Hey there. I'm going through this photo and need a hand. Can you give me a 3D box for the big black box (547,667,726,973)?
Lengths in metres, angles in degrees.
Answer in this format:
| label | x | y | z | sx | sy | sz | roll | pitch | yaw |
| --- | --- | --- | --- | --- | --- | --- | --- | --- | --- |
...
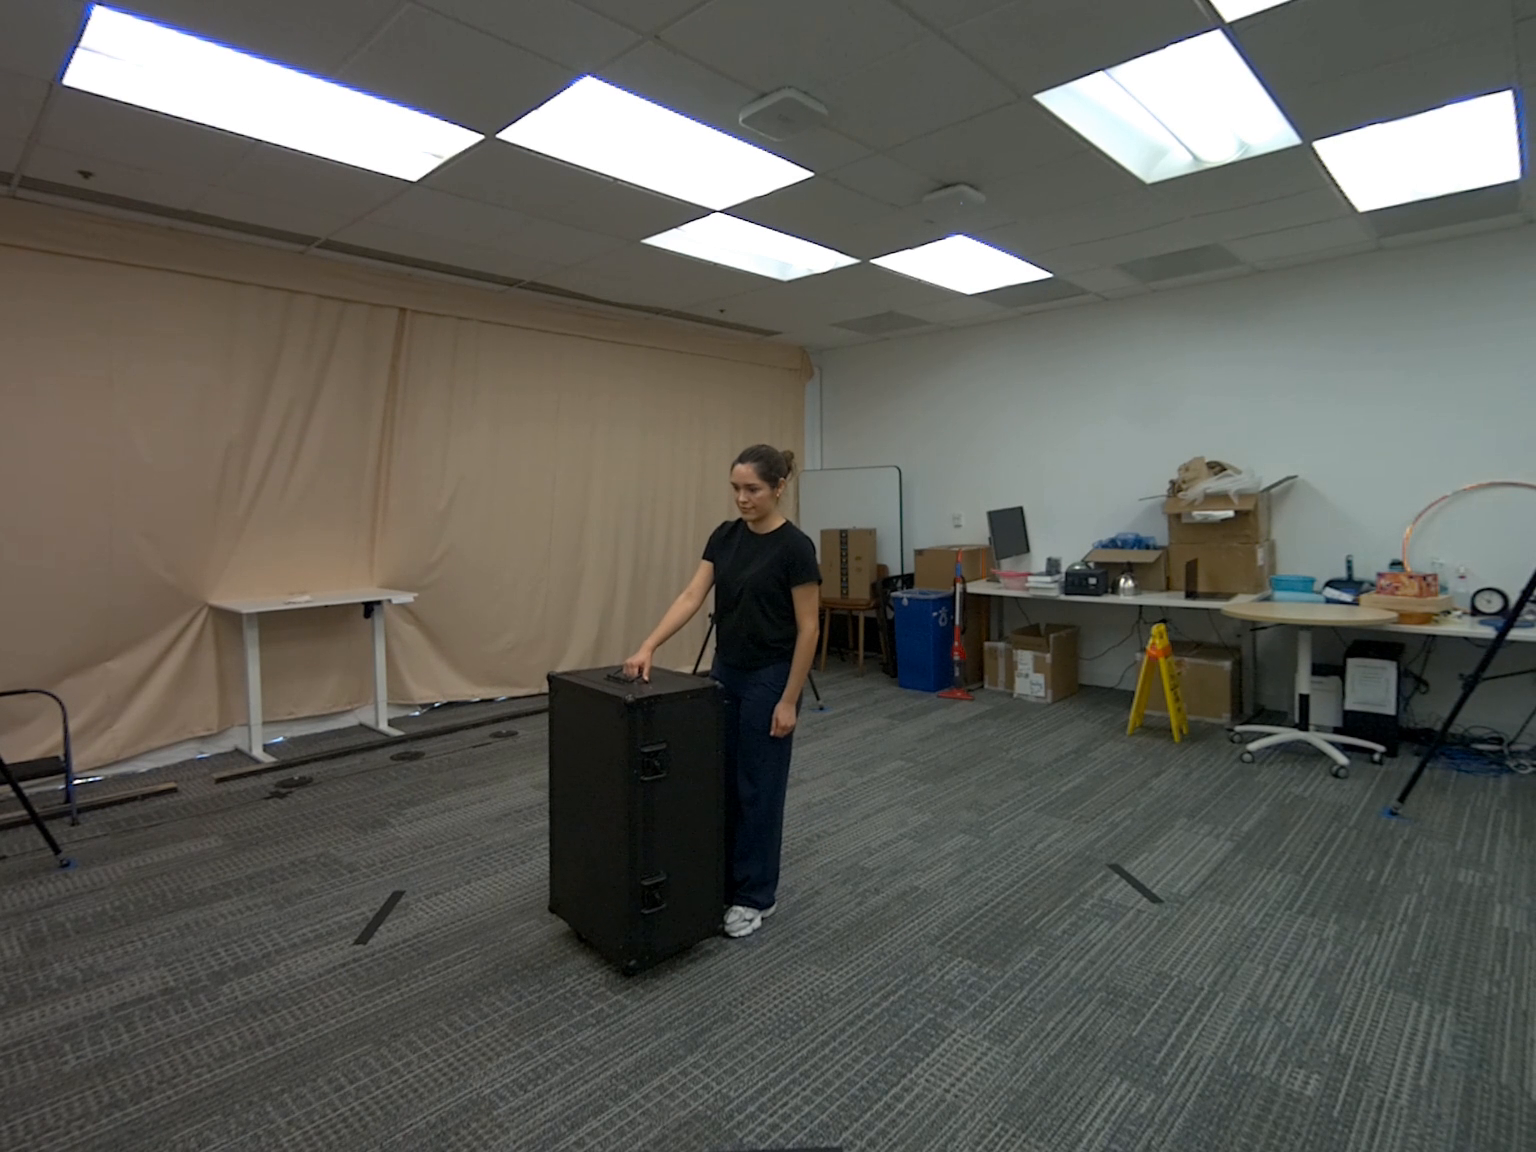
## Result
| label | x | y | z | sx | sy | sz | roll | pitch | yaw |
| --- | --- | --- | --- | --- | --- | --- | --- | --- | --- |
| big black box | -0.396 | 0.688 | 2.674 | 0.384 | 0.860 | 0.538 | -1 | 3 | -41 |
